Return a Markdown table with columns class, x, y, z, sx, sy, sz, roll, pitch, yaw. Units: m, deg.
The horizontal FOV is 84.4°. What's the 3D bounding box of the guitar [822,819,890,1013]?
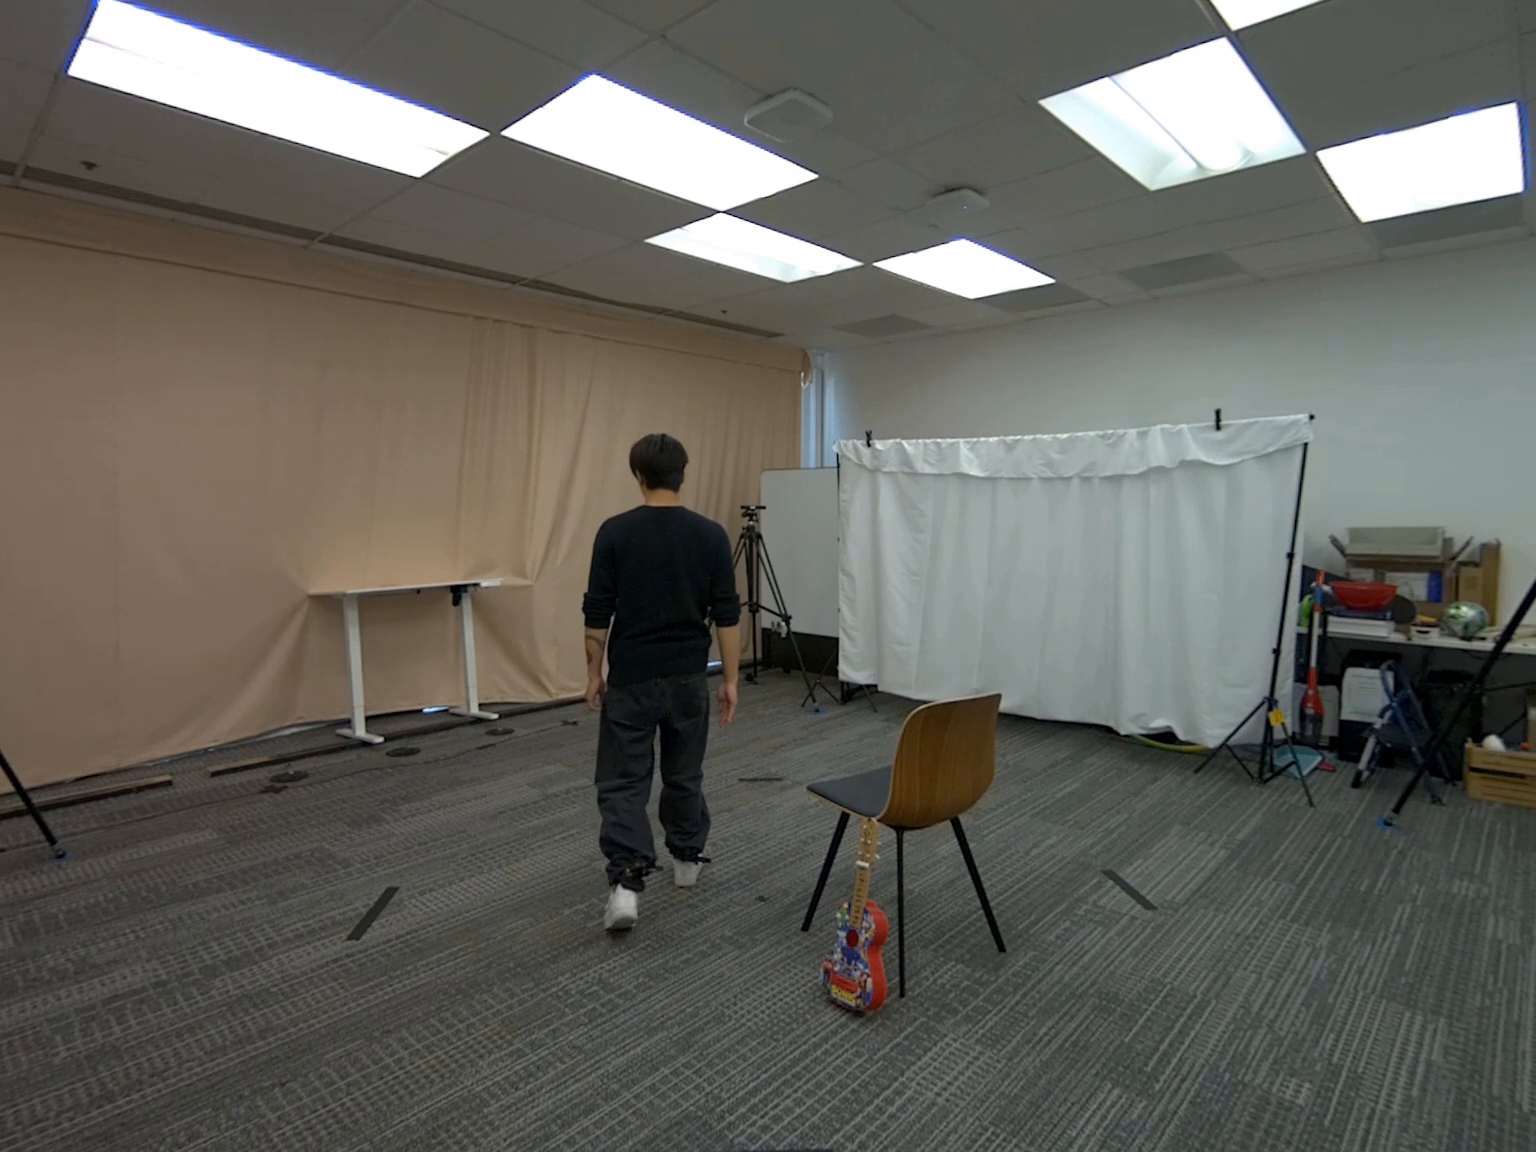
| class | x | y | z | sx | sy | sz | roll | pitch | yaw |
| --- | --- | --- | --- | --- | --- | --- | --- | --- | --- |
| guitar | 0.289 | 0.951 | 2.358 | 0.068 | 0.499 | 0.199 | 21 | -9 | -38 |
